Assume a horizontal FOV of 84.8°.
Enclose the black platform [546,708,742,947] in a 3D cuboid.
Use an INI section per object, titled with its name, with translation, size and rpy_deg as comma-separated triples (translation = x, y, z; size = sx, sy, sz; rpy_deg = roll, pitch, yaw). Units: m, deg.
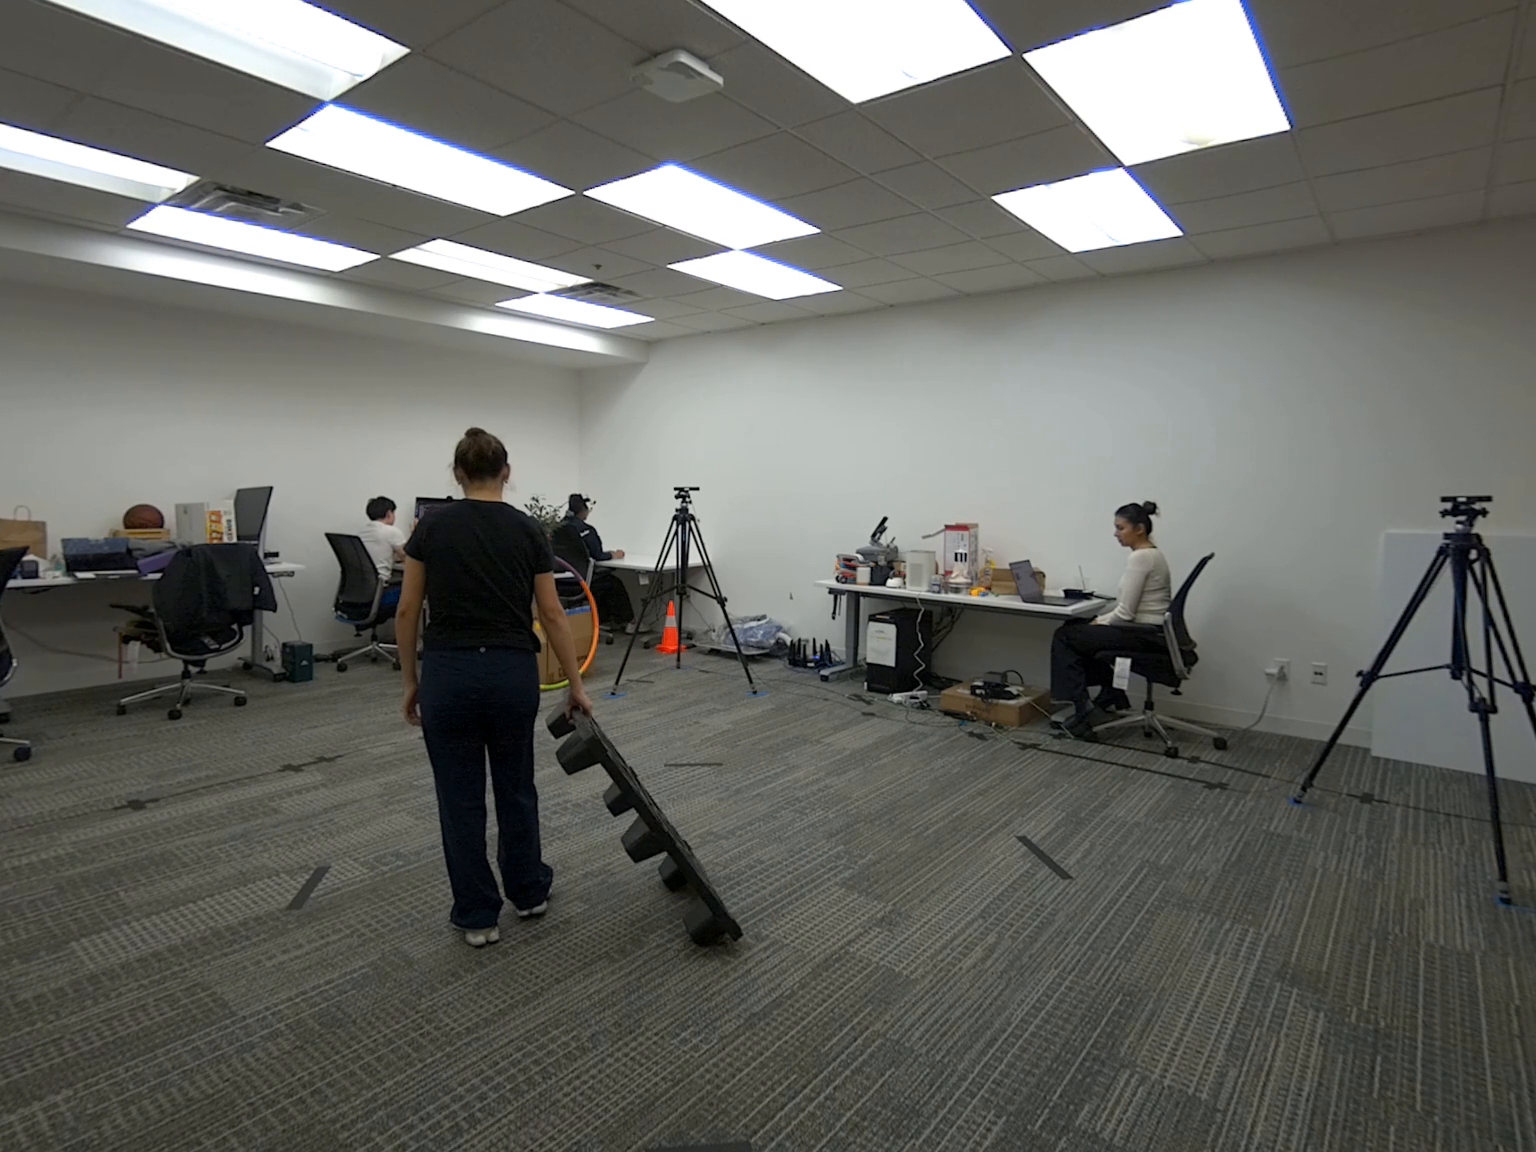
[black platform]
translation = -0.419, 0.757, 2.753
size = 0.143, 0.793, 0.617
rpy_deg = -35, 13, -13
